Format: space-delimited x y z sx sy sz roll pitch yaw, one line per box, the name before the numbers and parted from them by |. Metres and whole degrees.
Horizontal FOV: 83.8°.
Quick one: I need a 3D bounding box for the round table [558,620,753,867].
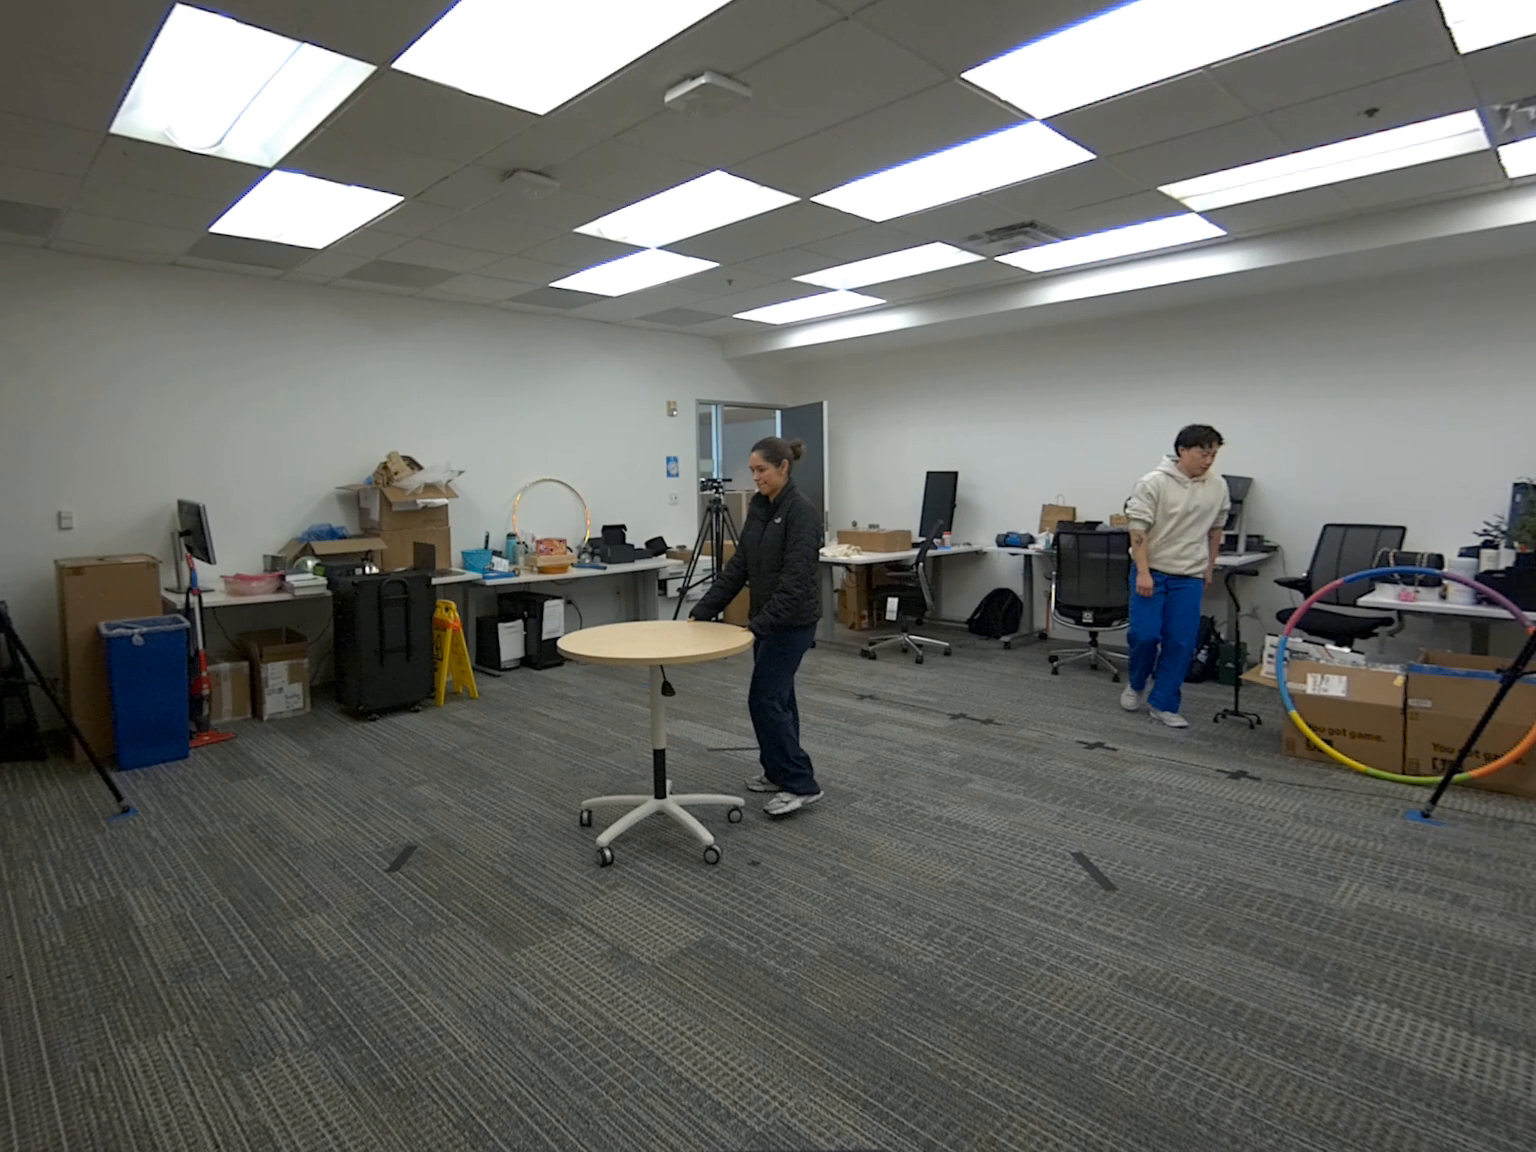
round table | -0.421 0.628 3.379 0.784 0.783 0.789 -2 5 -2
